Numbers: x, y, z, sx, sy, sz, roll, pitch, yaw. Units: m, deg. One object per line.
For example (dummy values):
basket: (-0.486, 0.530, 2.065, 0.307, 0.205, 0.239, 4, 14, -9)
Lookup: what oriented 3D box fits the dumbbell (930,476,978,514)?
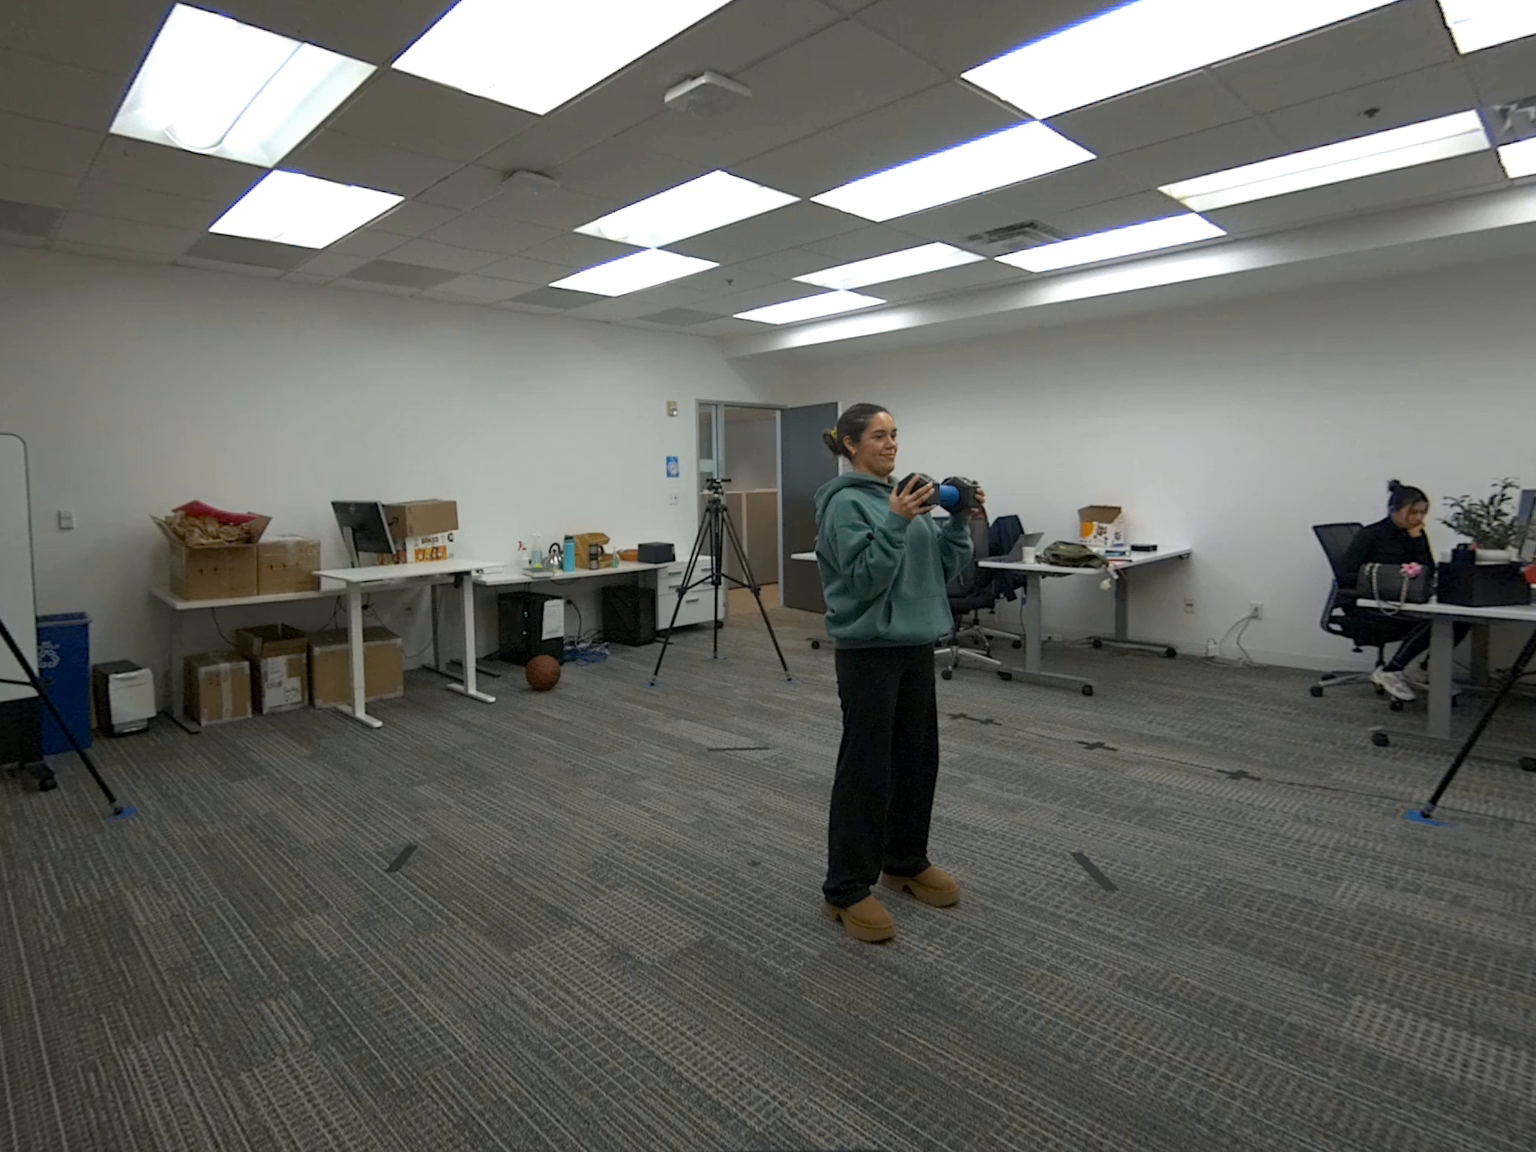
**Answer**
dumbbell: (0.510, -0.237, 2.570, 0.285, 0.111, 0.124, 0, -25, -42)
